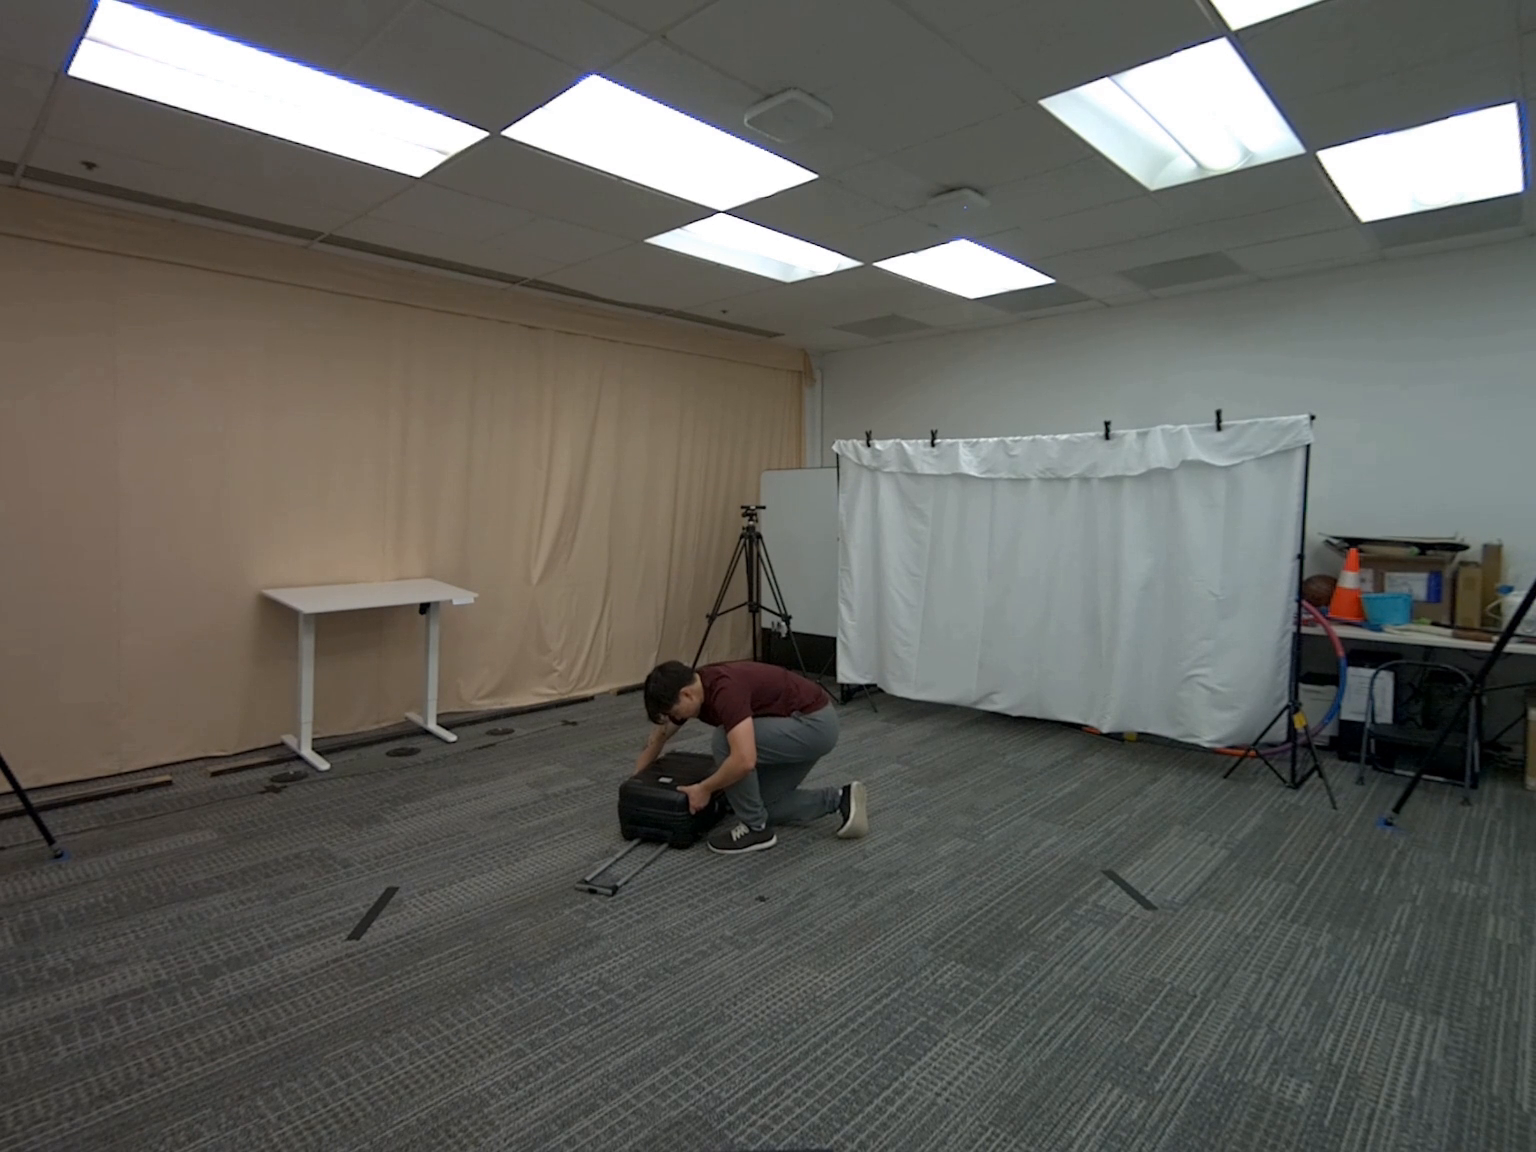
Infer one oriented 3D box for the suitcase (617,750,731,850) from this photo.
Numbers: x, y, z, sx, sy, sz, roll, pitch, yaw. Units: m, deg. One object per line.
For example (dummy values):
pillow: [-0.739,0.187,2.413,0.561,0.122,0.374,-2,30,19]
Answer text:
suitcase: [-0.458,0.987,3.484,0.393,0.256,0.959,3,6,20]
